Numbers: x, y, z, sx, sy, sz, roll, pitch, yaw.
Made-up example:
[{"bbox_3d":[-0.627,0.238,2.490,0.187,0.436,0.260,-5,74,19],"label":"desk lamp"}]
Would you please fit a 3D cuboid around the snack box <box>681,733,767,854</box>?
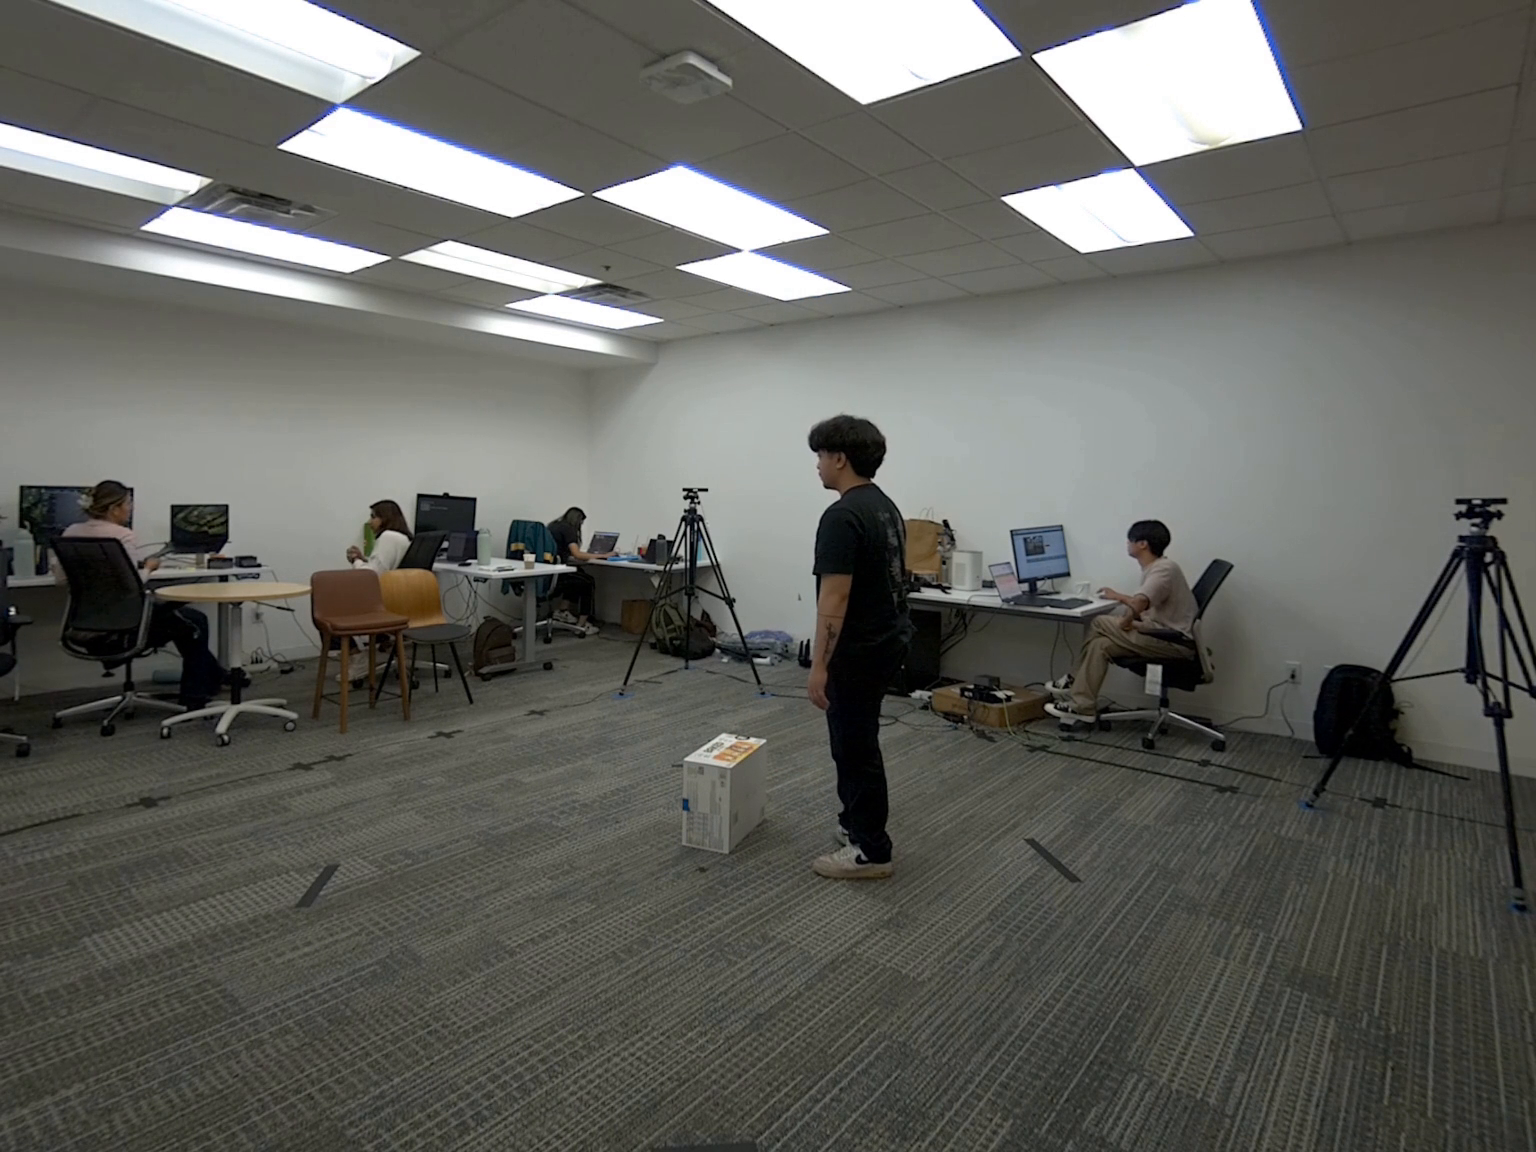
[{"bbox_3d":[-0.181,0.866,3.452,0.210,0.339,0.397,3,5,21],"label":"snack box"}]
